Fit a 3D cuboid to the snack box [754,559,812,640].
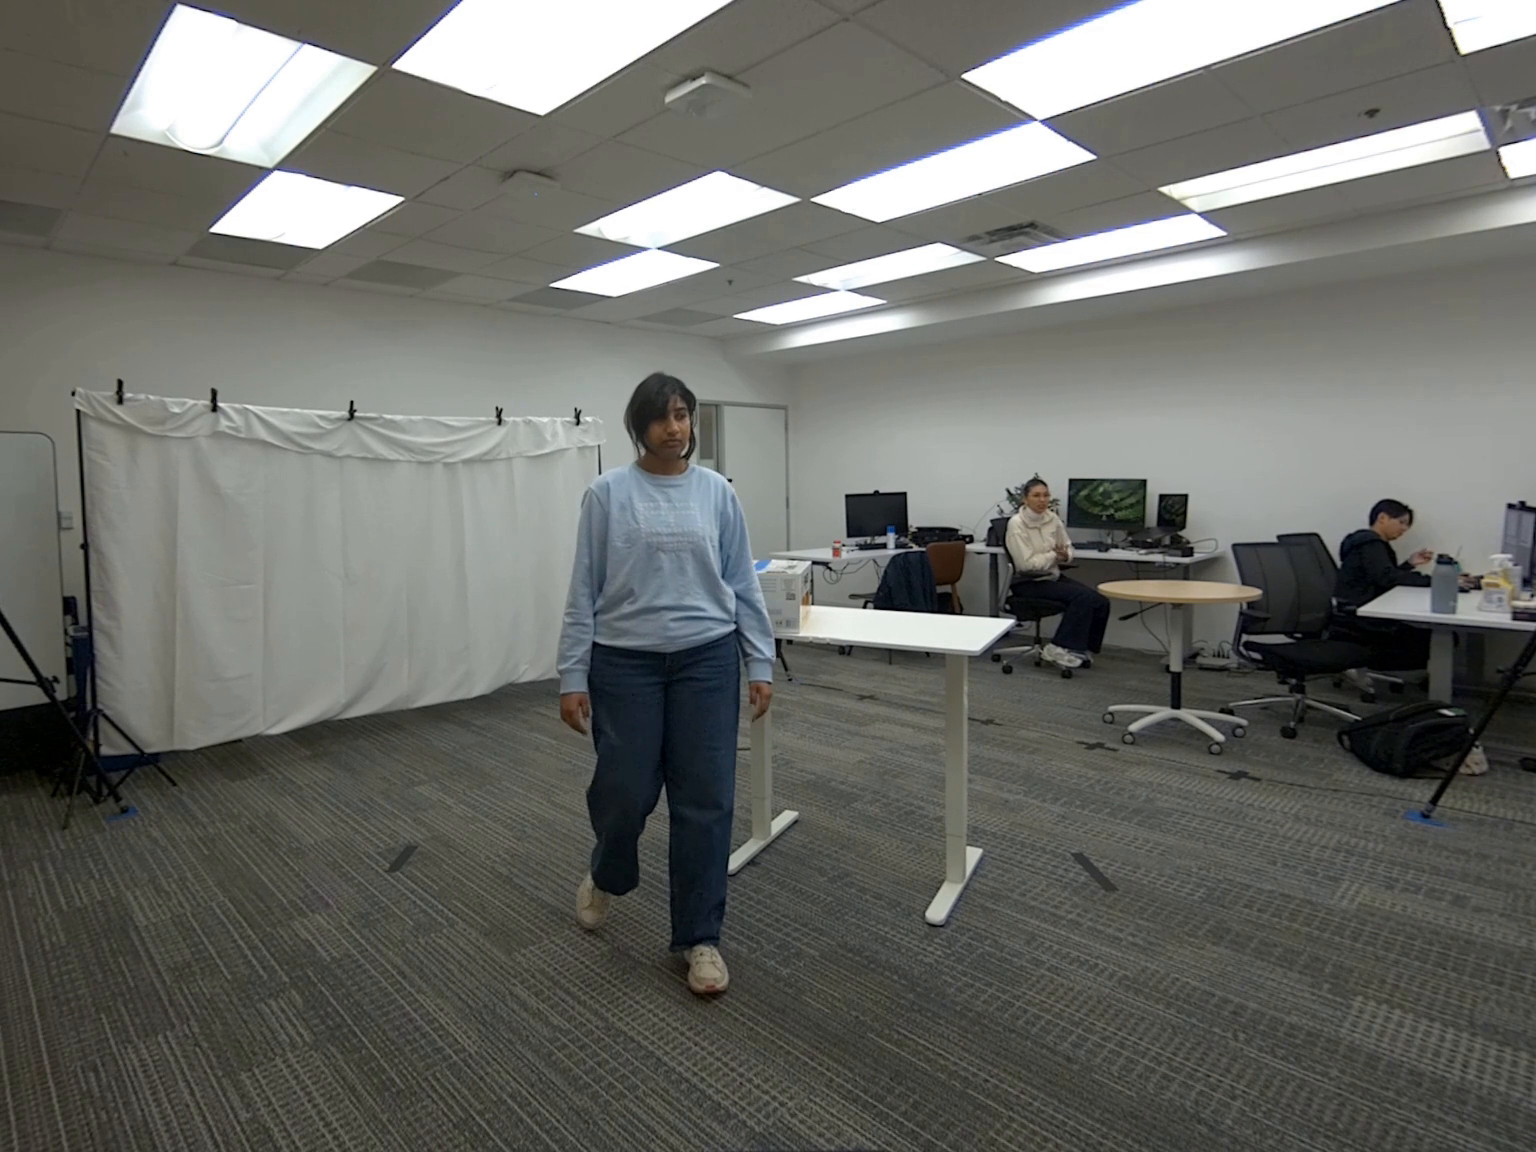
[{"bbox_3d":[-0.037,0.067,3.048,0.344,0.205,0.403,-1,6,10],"label":"snack box"}]
